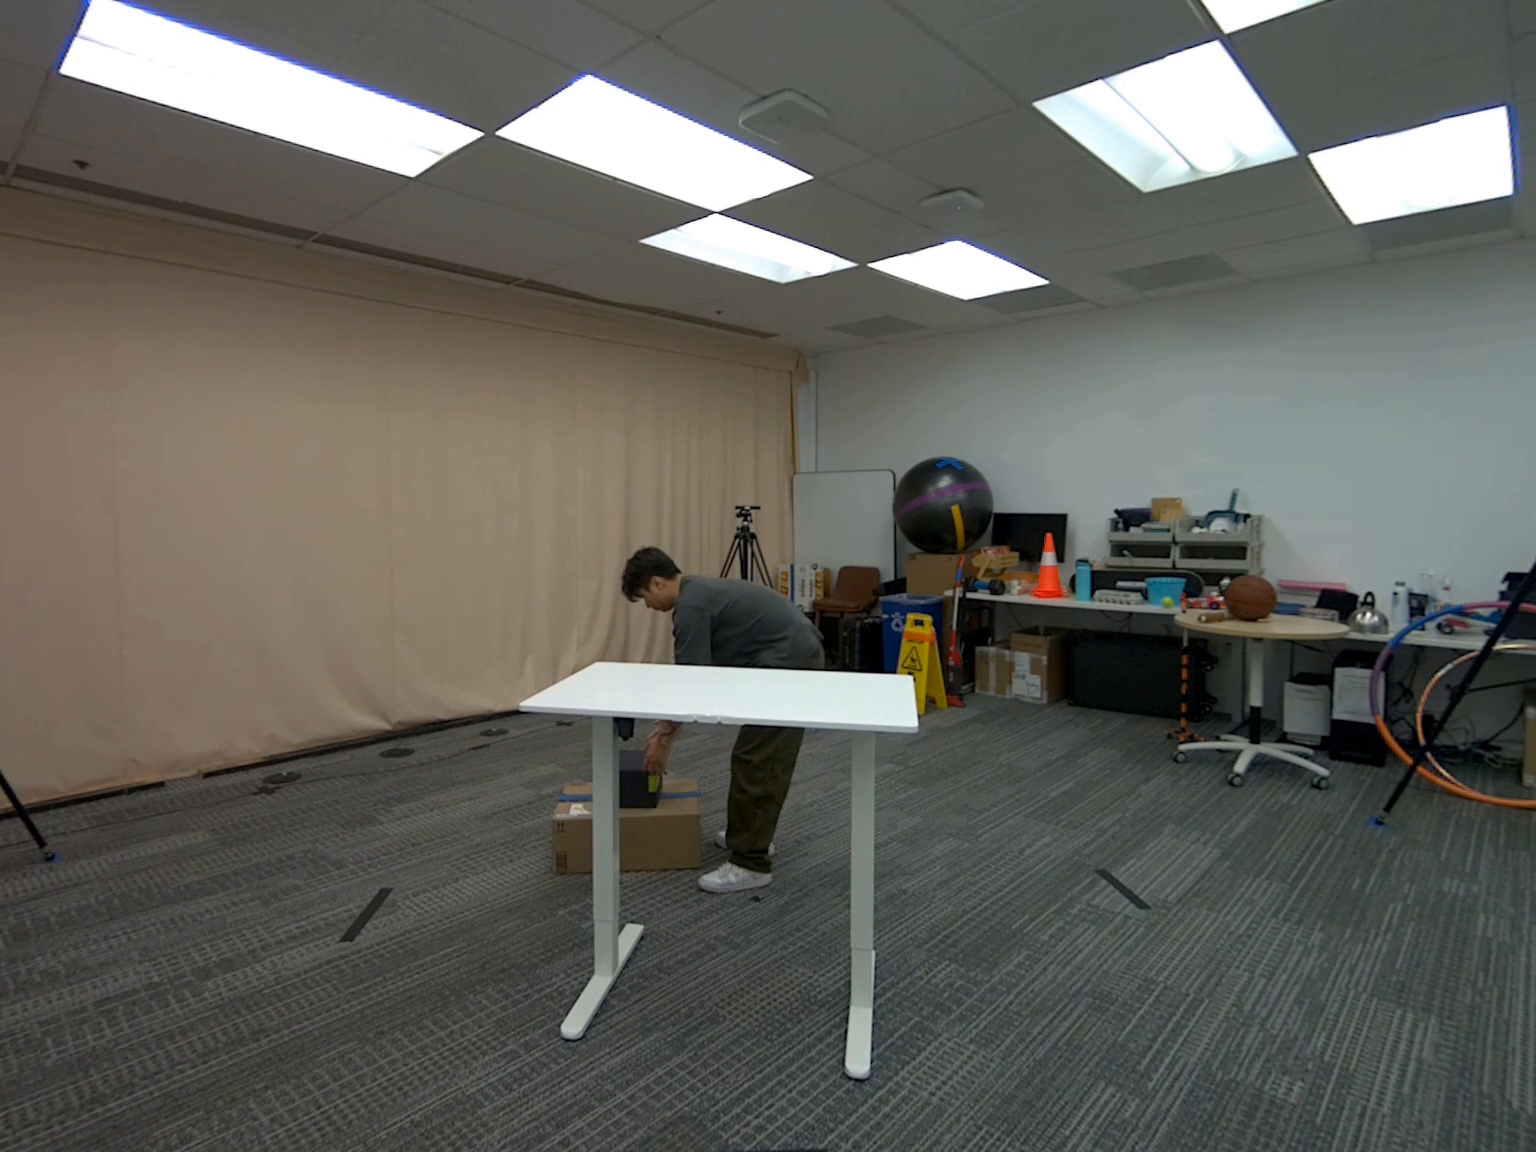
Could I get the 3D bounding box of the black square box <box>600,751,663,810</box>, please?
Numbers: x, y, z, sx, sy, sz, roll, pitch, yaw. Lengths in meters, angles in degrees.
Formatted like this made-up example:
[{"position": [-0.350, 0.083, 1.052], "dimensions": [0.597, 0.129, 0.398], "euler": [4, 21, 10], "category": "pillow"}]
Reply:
[{"position": [-0.544, 0.814, 3.396], "dimensions": [0.217, 0.155, 0.228], "euler": [0, 5, 0], "category": "black square box"}]
